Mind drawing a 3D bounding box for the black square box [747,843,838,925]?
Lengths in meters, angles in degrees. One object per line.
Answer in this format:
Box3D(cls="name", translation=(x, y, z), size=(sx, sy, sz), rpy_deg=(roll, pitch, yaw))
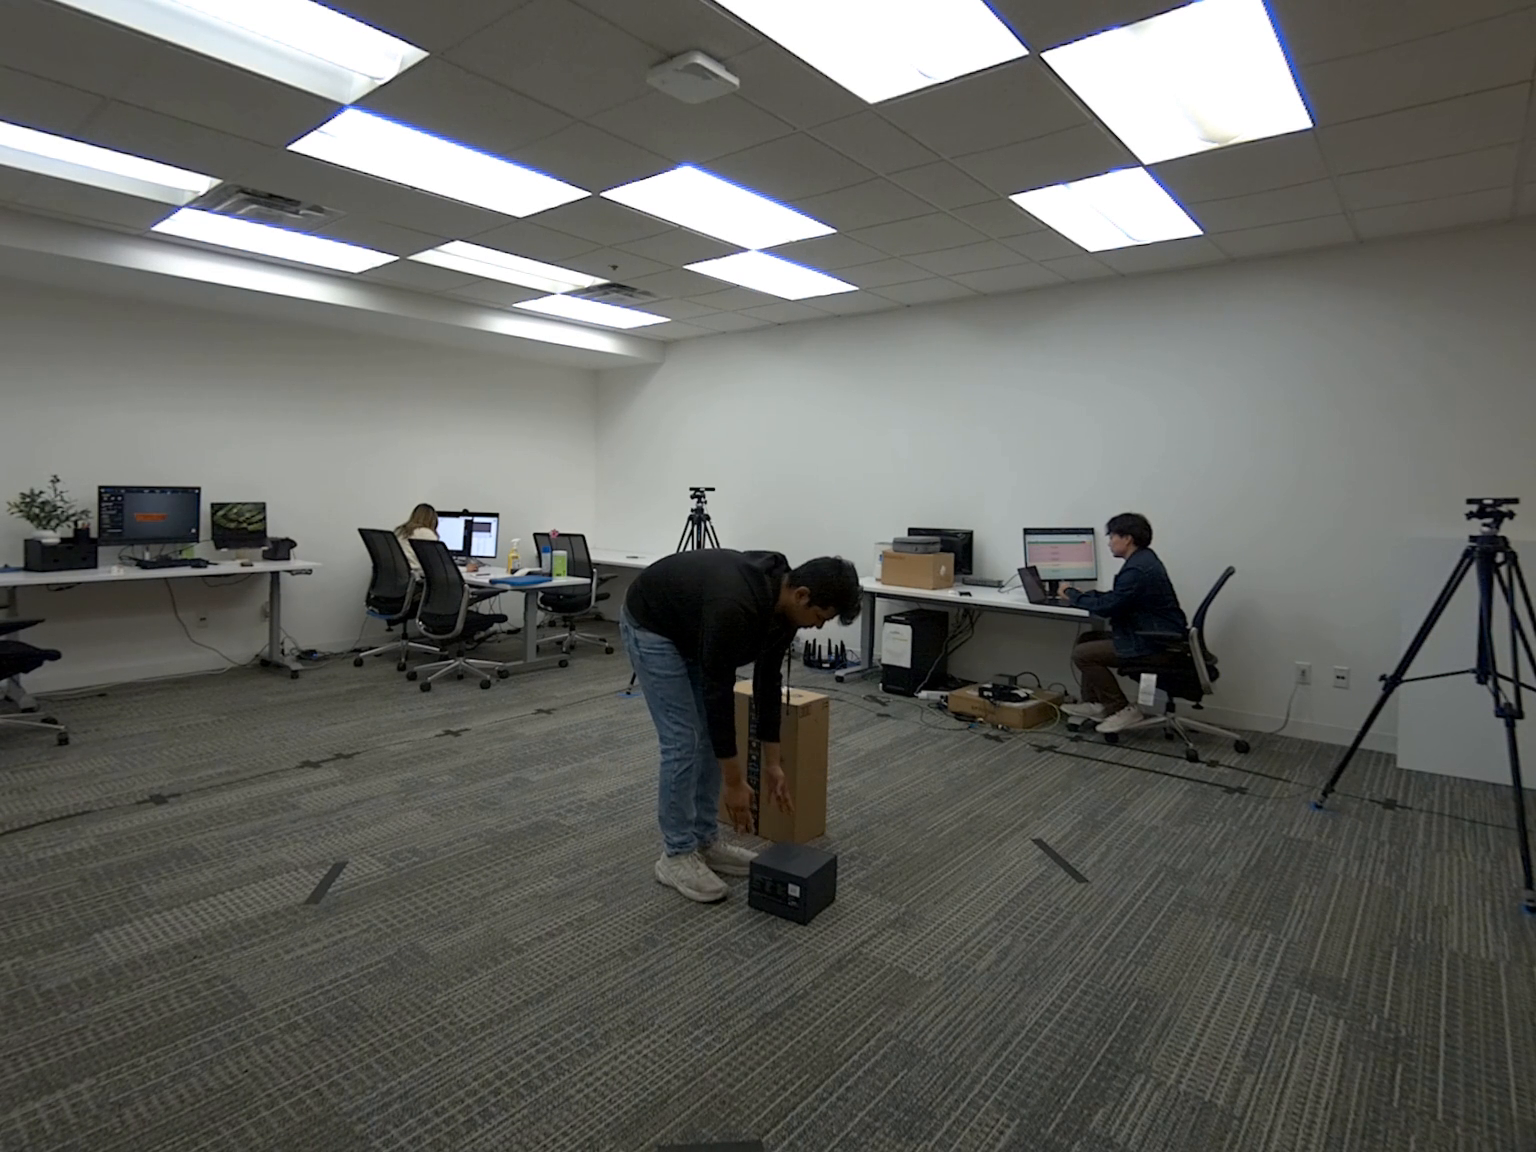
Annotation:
Box3D(cls="black square box", translation=(0.080, 1.008, 2.846), size=(0.224, 0.155, 0.221), rpy_deg=(5, 5, 34))
